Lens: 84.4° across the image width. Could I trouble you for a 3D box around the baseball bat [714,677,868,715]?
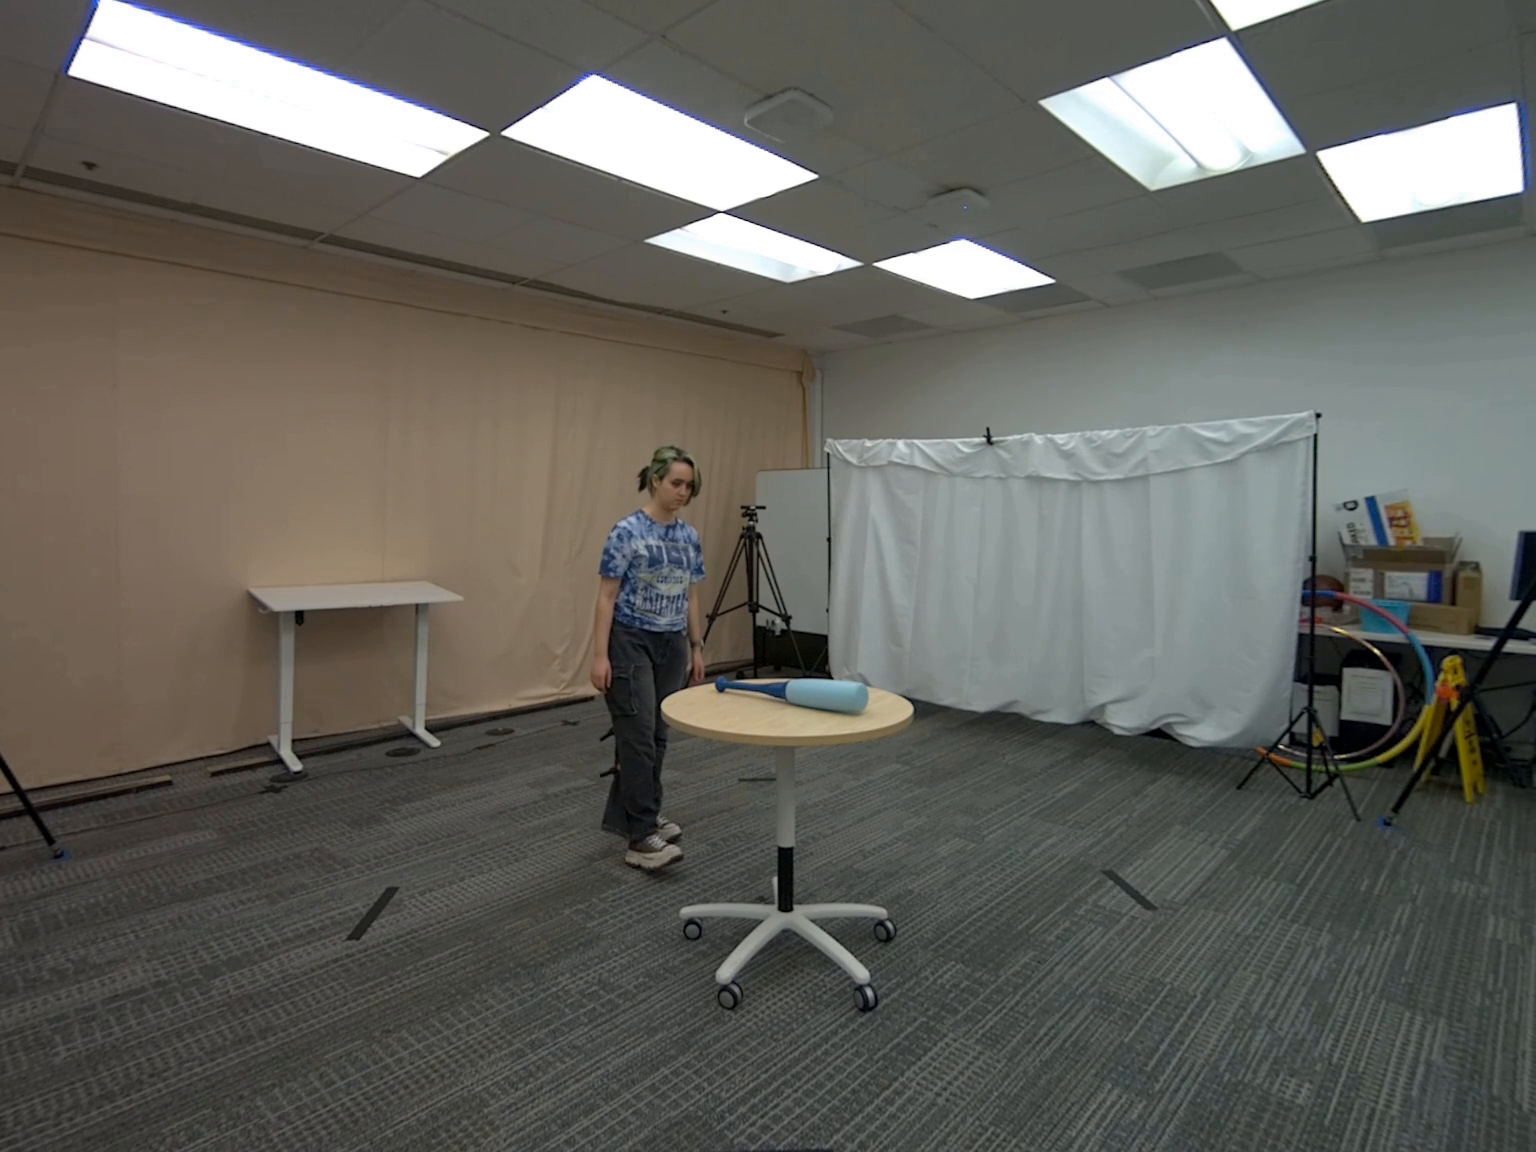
[{"bbox_3d":[0.057,0.358,2.589,0.560,0.089,0.086,-1,2,37],"label":"baseball bat"}]
